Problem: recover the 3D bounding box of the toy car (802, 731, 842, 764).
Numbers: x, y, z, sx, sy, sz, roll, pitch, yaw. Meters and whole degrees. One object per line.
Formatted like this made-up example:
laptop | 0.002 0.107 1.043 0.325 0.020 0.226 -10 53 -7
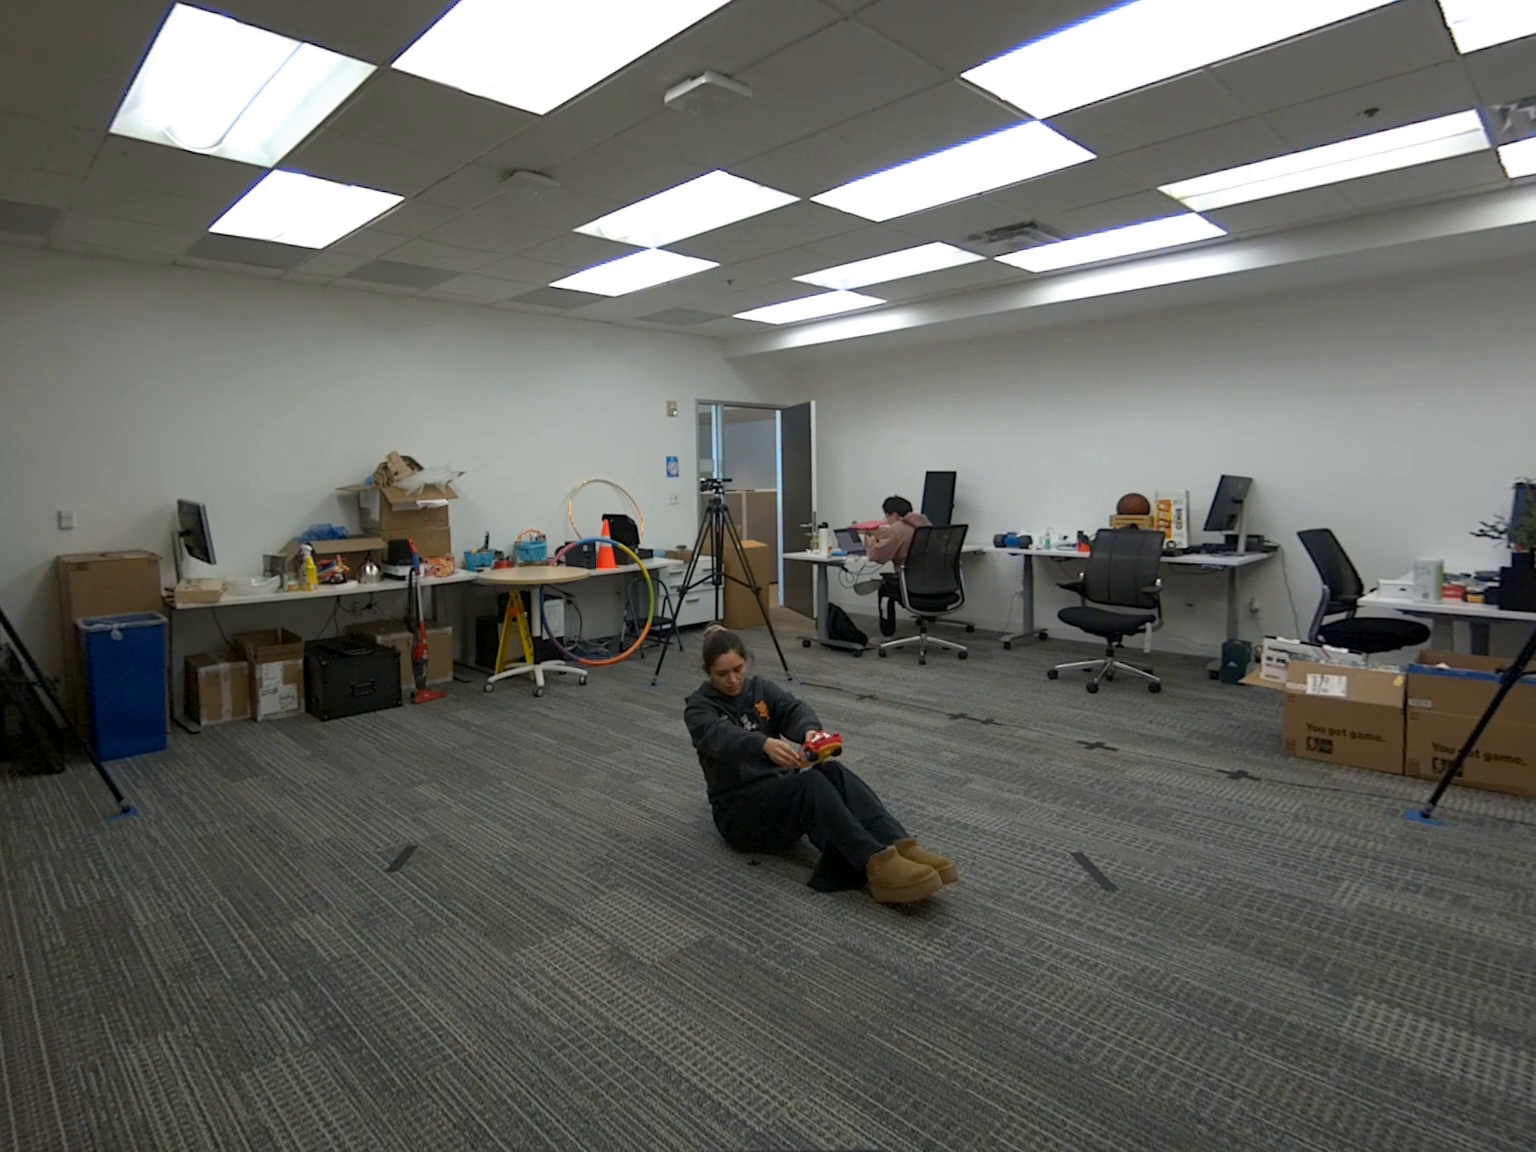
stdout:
toy car | 0.160 0.572 2.764 0.128 0.086 0.251 -7 -37 -25
